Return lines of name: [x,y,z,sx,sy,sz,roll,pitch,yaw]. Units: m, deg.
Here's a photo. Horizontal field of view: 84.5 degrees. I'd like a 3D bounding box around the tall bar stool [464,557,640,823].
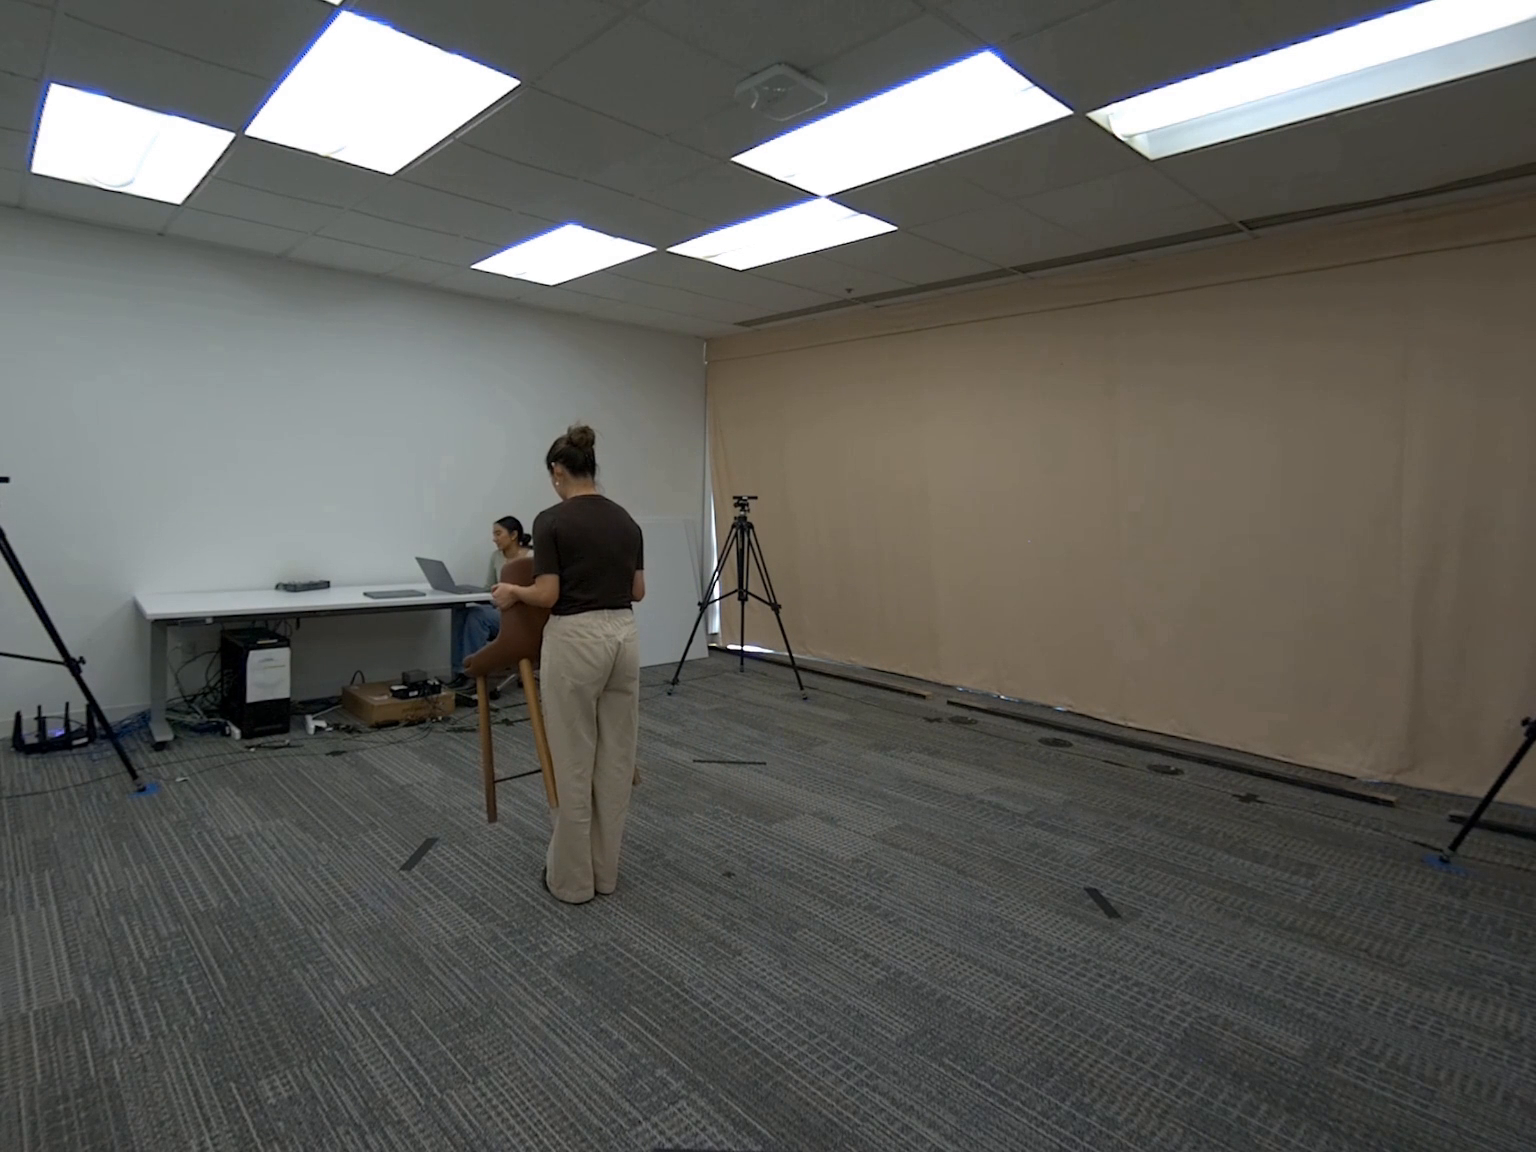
tall bar stool: [-0.851,0.419,3.166,0.446,0.898,0.474,-3,-15,-45]
